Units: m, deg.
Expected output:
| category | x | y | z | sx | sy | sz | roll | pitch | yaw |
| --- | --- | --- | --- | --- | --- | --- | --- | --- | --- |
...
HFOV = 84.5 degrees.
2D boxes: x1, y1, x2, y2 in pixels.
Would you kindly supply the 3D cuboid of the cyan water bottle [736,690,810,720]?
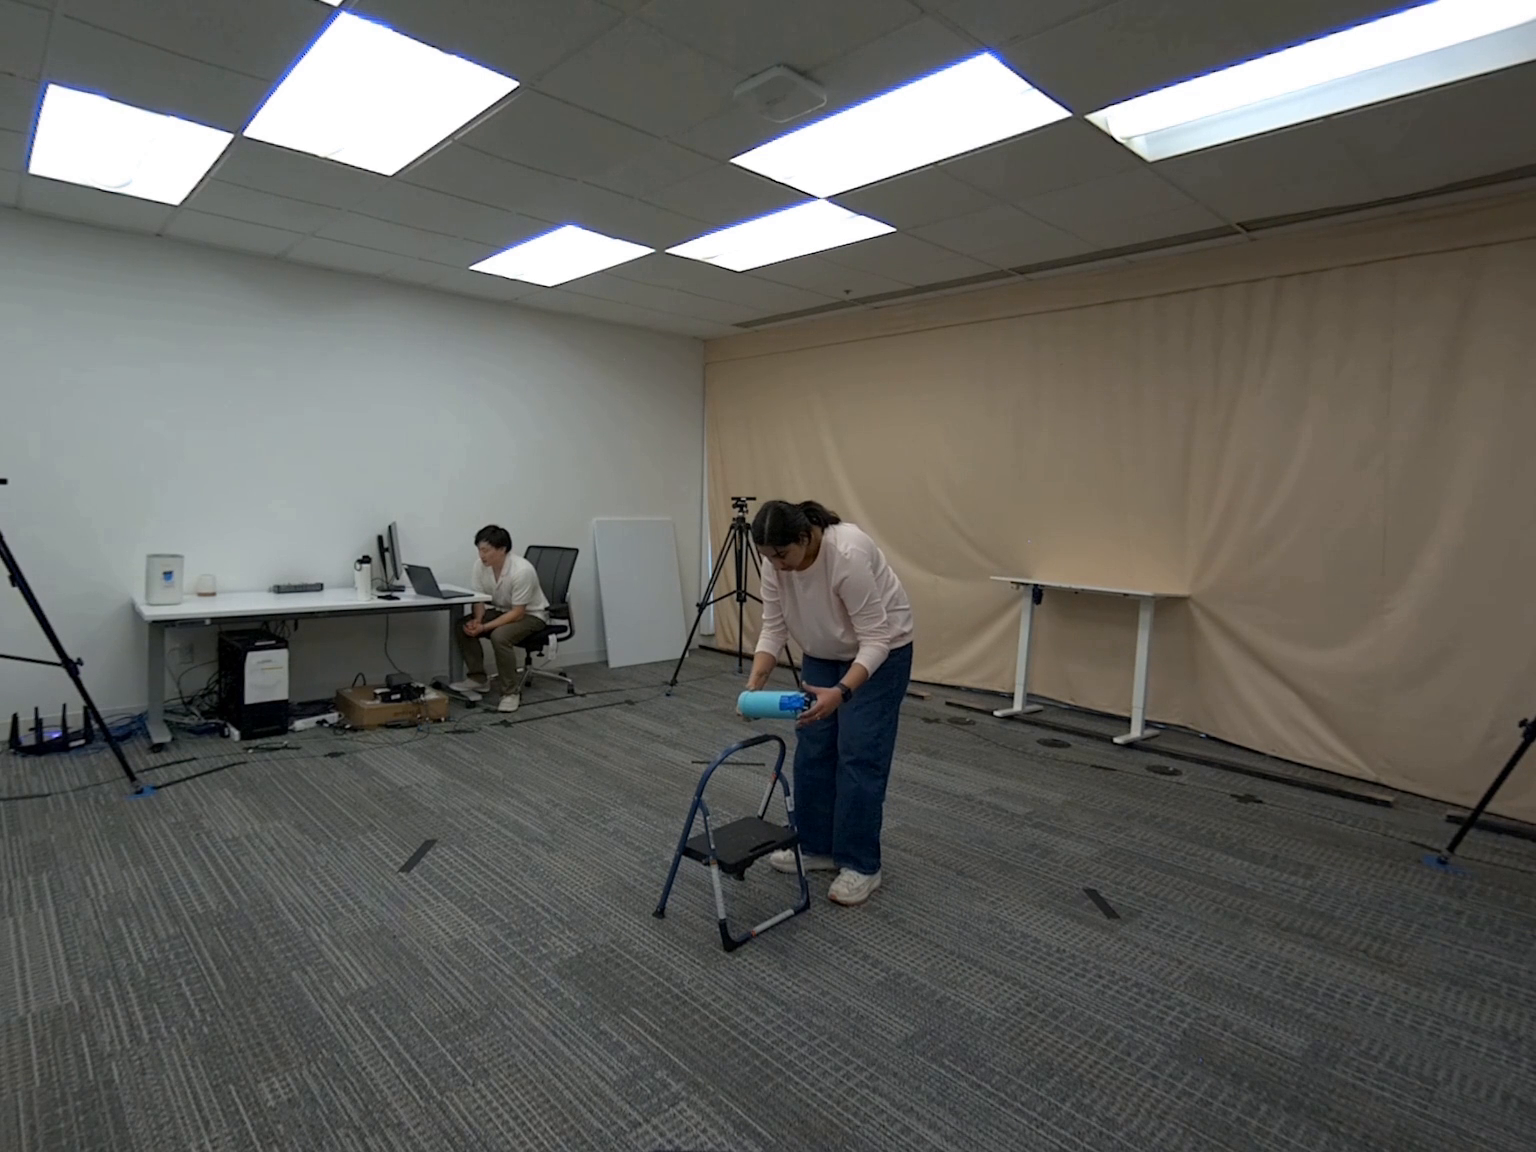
| category | x | y | z | sx | sy | sz | roll | pitch | yaw |
| --- | --- | --- | --- | --- | --- | --- | --- | --- | --- |
| cyan water bottle | 0.039 | 0.426 | 2.748 | 0.289 | 0.092 | 0.090 | -6 | -1 | 34 |
